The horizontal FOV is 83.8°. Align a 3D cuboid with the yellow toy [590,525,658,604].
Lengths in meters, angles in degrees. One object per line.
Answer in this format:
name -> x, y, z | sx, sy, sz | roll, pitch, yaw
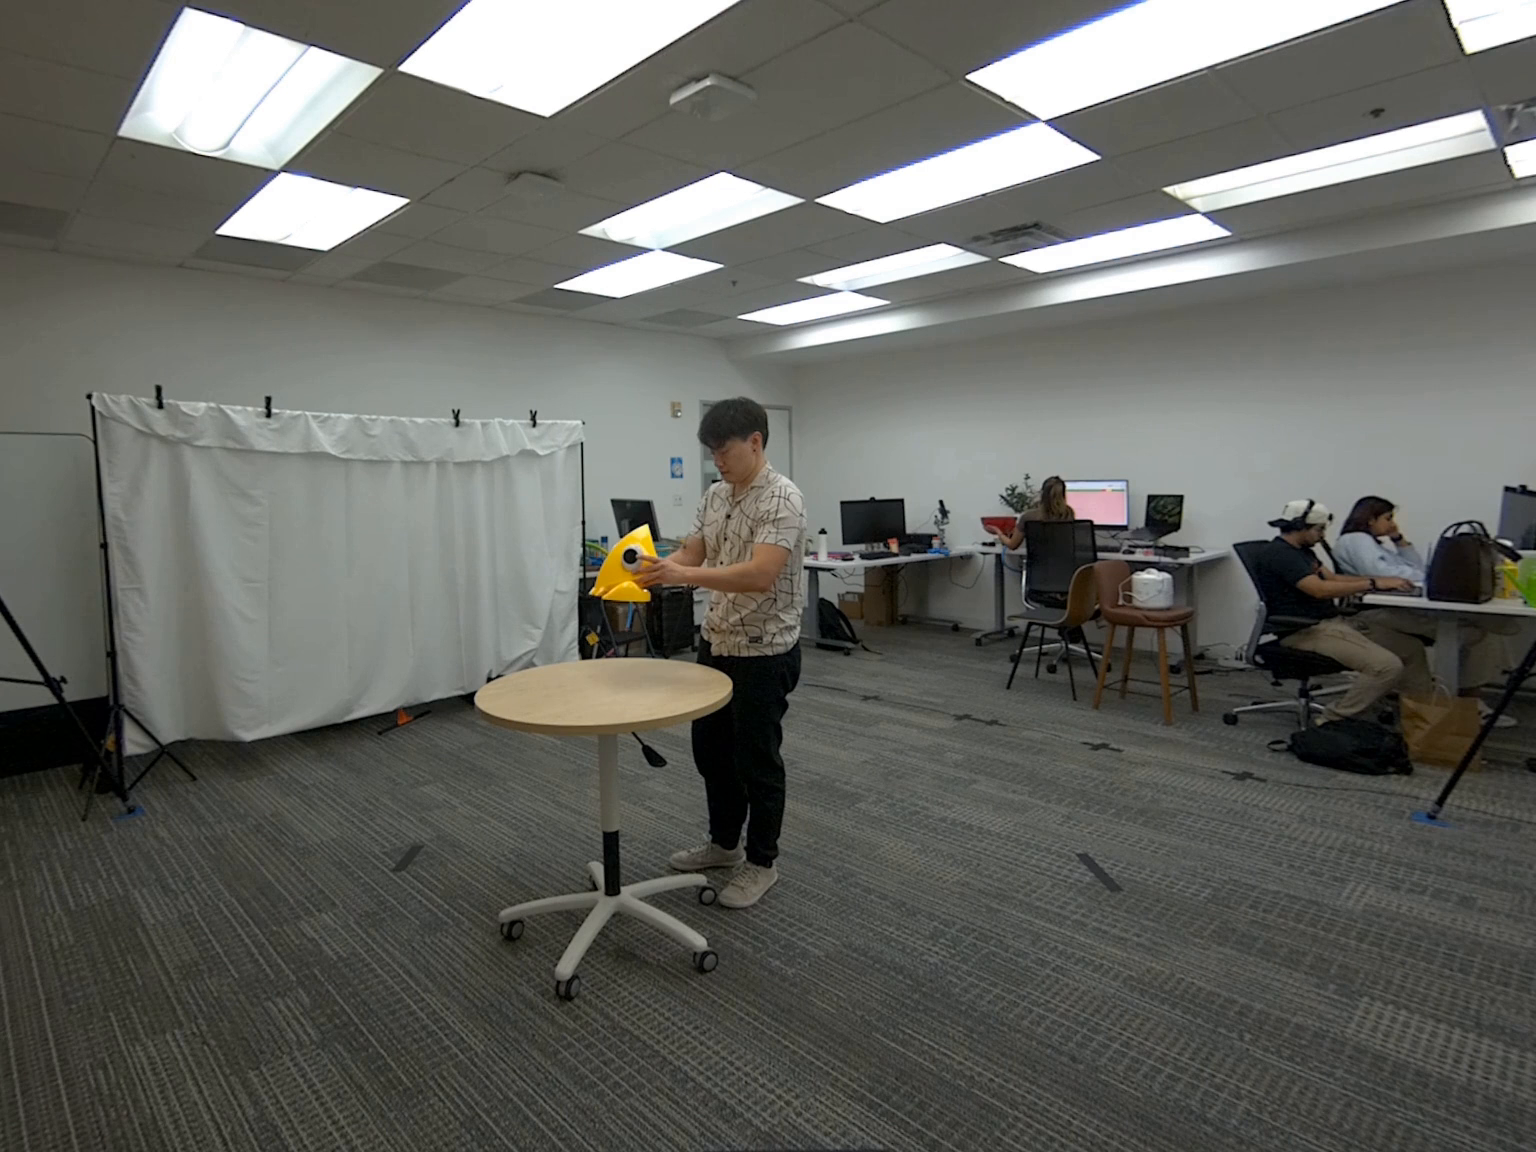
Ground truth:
yellow toy -> -0.432, -0.039, 2.630 | 0.188, 0.230, 0.210 | 2, 3, -29
